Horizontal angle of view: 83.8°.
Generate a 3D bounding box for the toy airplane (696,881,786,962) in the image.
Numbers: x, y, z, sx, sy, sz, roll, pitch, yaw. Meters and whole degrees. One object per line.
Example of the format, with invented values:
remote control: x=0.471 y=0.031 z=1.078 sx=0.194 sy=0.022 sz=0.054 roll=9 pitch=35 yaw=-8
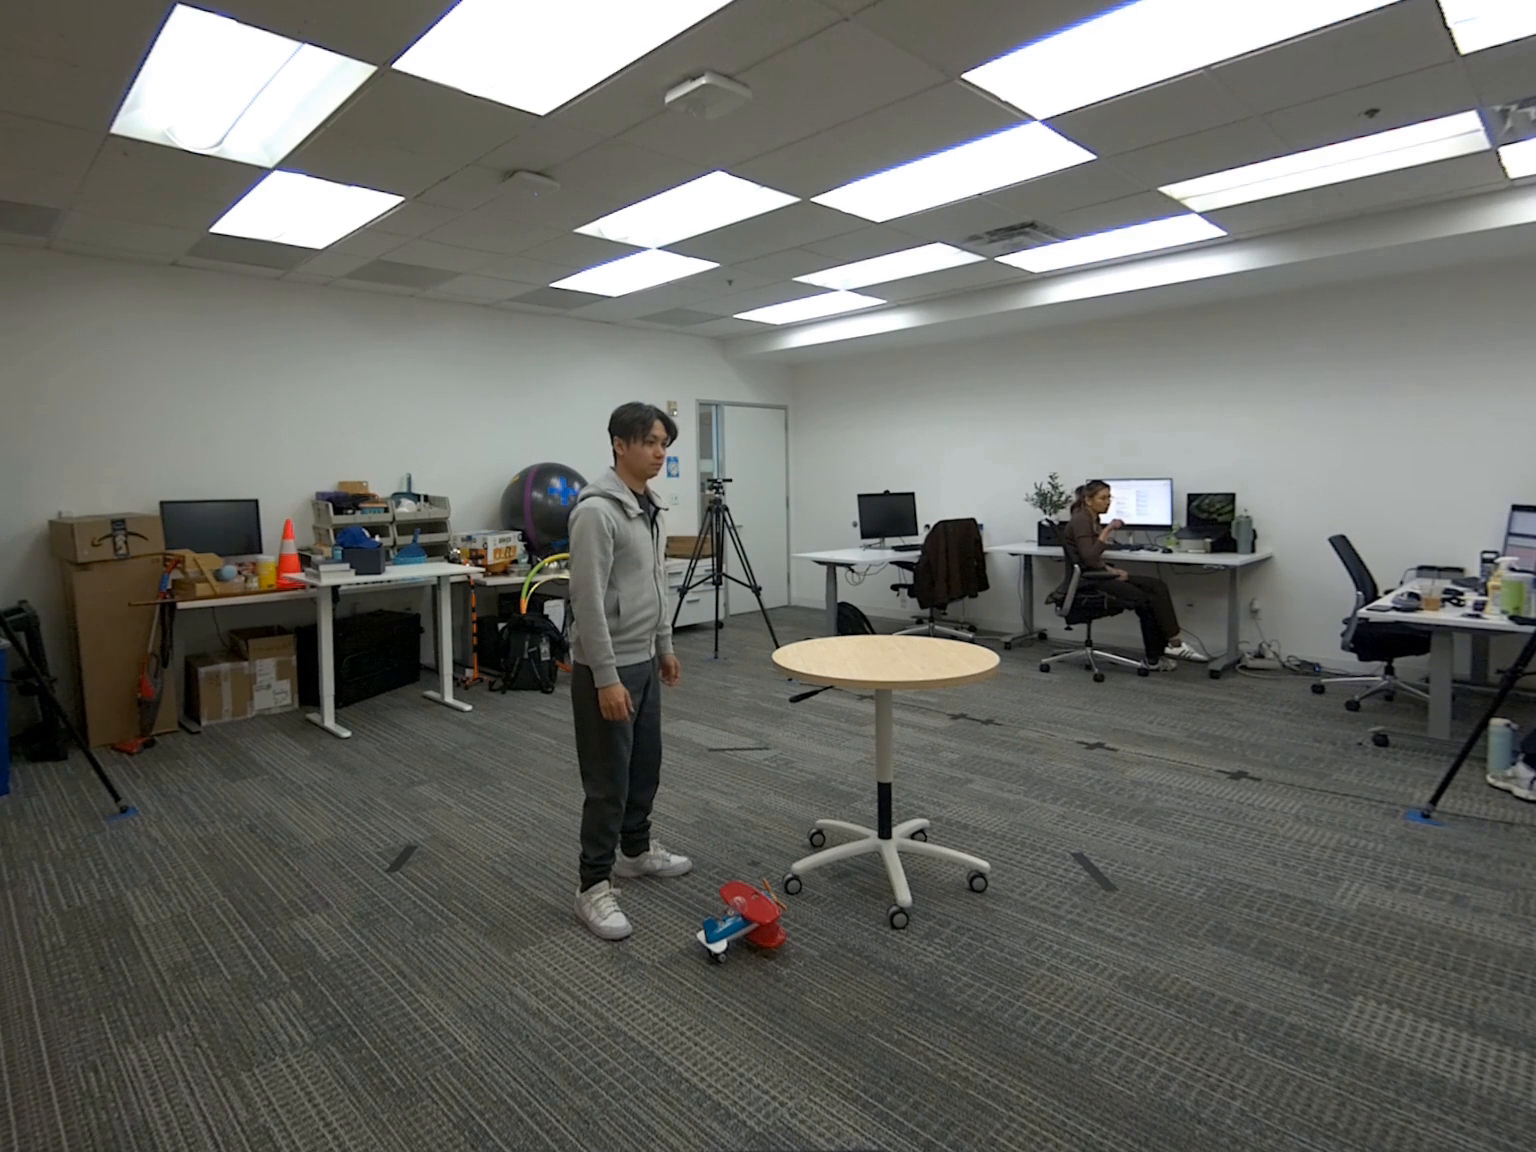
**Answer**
toy airplane: x=-0.062 y=1.040 z=2.528 sx=0.257 sy=0.156 sz=0.254 roll=3 pitch=5 yaw=28
